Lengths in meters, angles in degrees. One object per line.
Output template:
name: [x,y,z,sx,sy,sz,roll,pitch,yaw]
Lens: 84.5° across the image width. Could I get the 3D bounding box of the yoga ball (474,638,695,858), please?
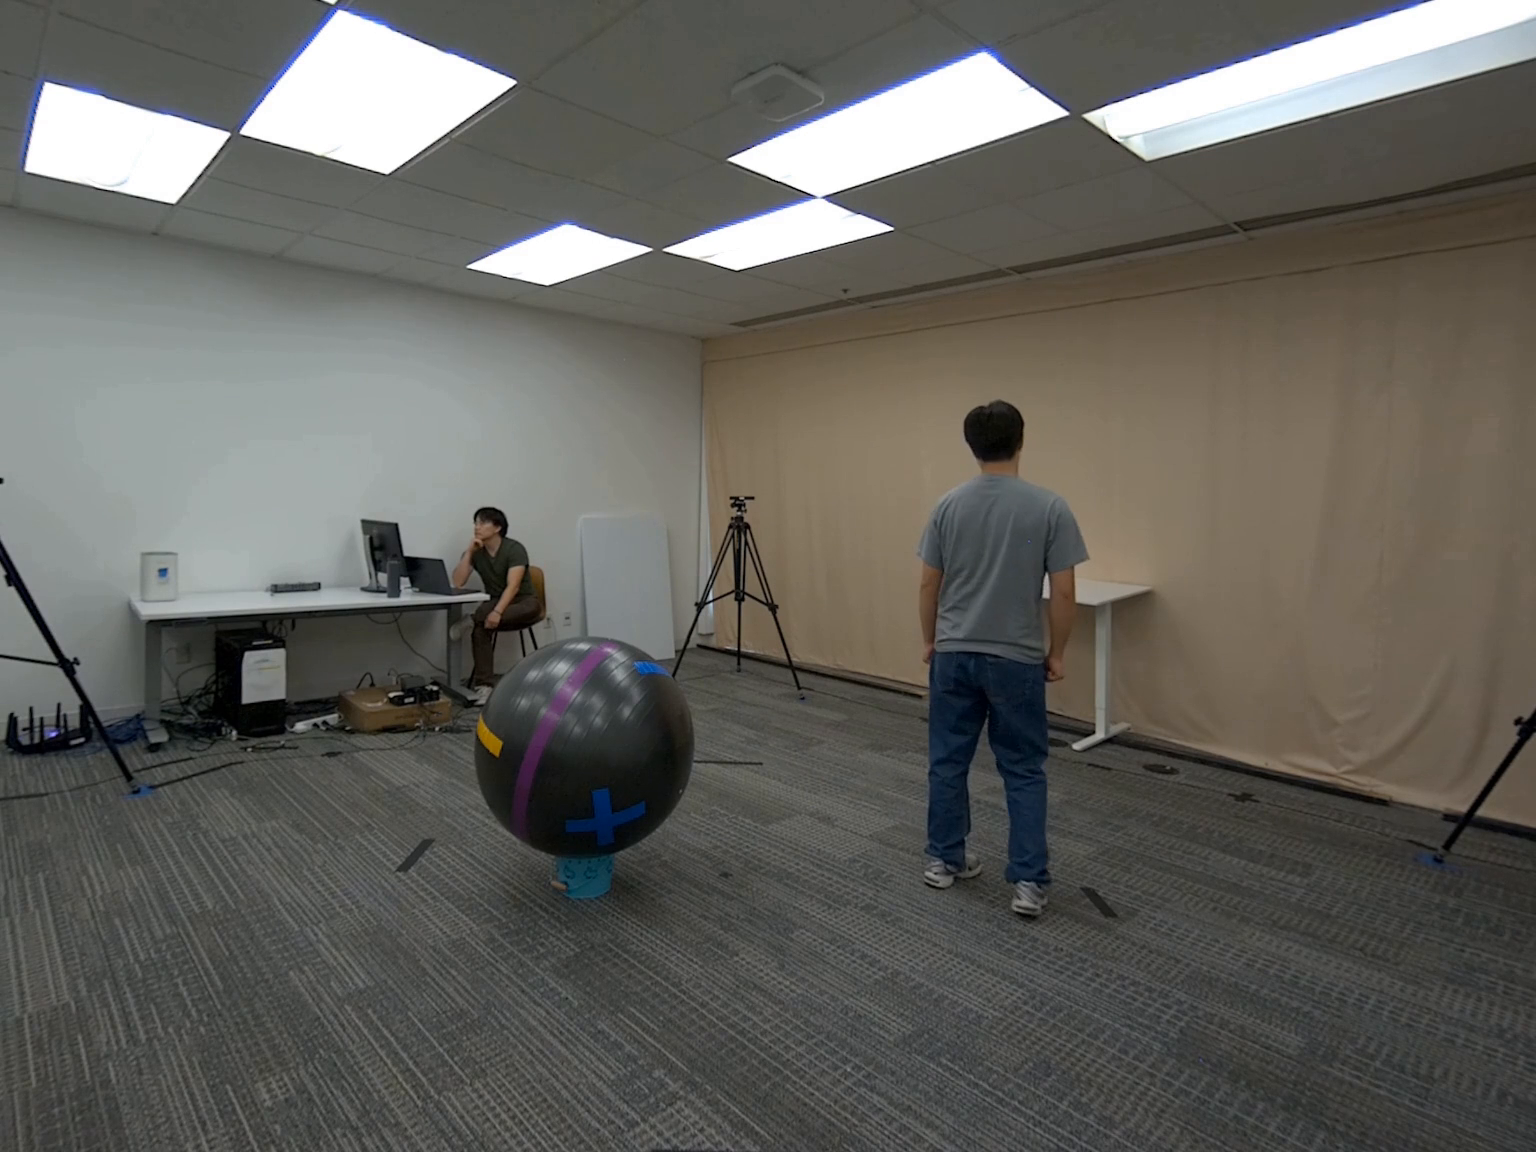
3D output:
yoga ball: [-0.647,0.597,2.956,0.757,0.756,0.761,1,4,-1]
